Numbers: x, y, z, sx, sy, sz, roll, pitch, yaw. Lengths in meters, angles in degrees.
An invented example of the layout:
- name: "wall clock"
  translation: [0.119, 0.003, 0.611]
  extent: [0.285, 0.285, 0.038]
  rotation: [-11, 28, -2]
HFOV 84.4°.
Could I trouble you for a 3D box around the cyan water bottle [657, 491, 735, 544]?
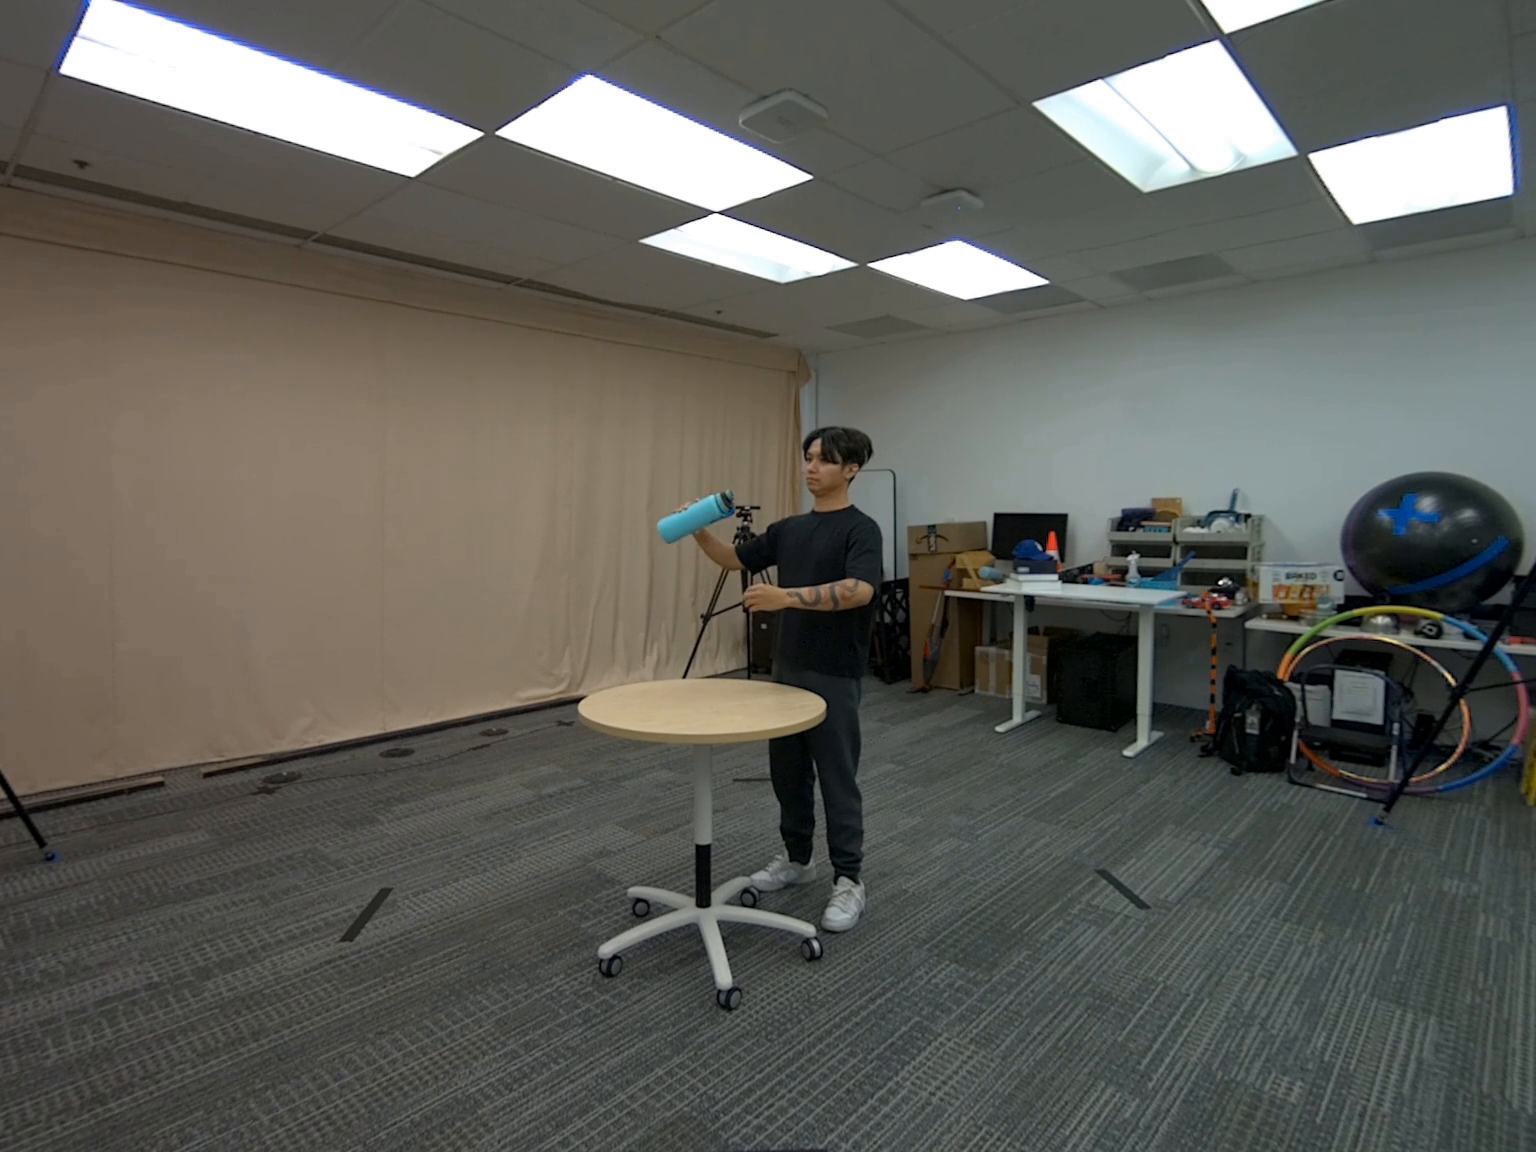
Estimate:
- name: "cyan water bottle"
  translation: [-0.232, -0.192, 2.895]
  extent: [0.286, 0.092, 0.091]
  rotation: [-23, -2, 15]
